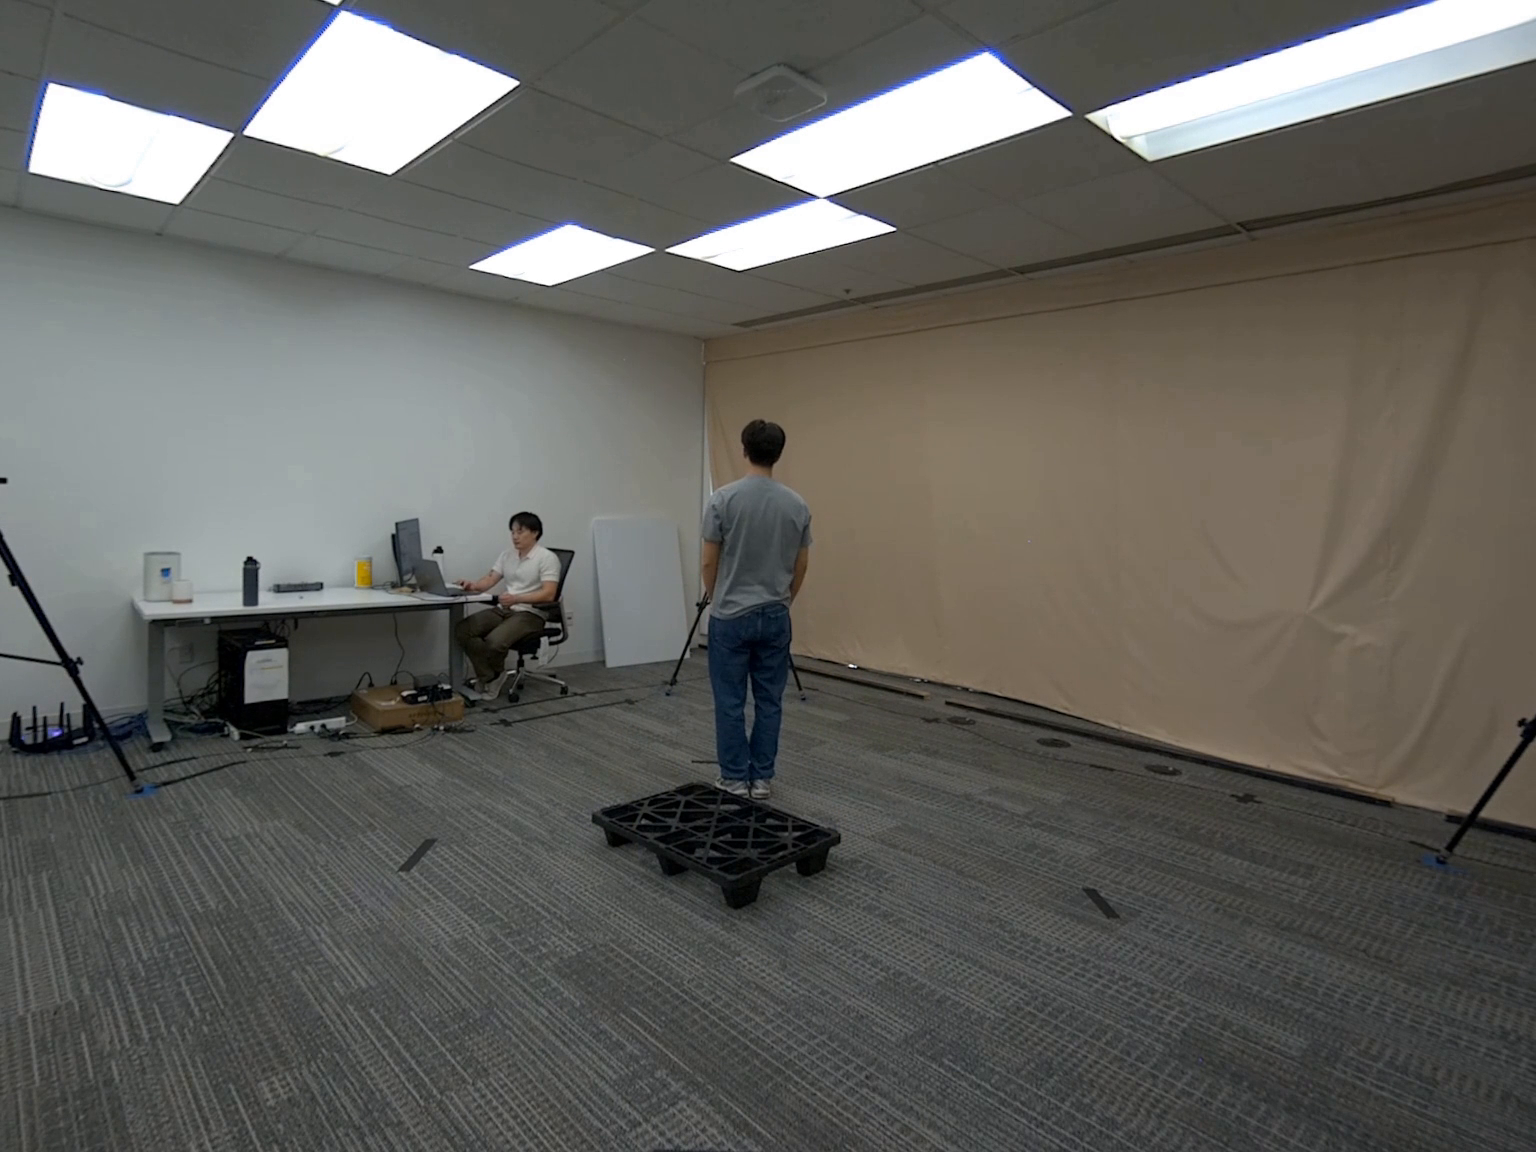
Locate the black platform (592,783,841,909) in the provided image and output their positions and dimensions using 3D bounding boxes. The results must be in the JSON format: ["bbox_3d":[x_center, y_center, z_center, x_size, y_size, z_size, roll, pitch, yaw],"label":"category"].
[{"bbox_3d":[-0.219,1.022,3.269,0.826,0.143,0.591,6,7,44],"label":"black platform"}]
